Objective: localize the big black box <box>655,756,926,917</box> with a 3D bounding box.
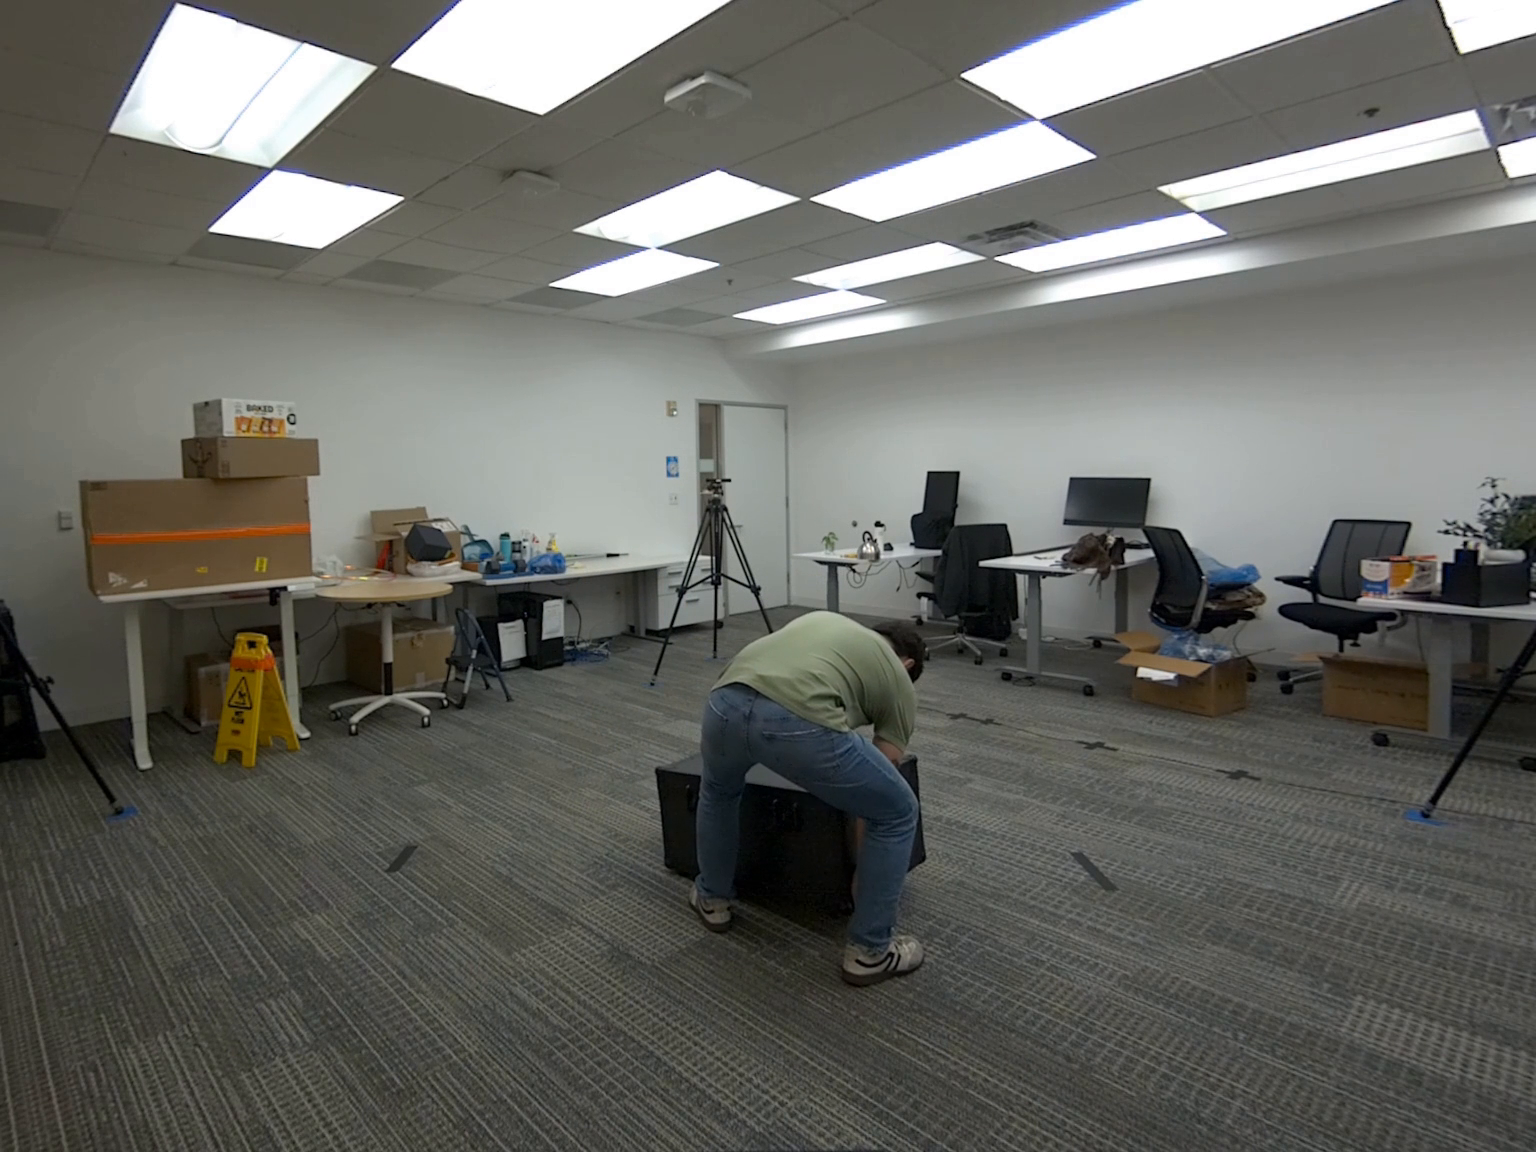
[{"bbox_3d":[0.046,0.836,3.002,0.885,0.395,0.508,-2,4,39],"label":"big black box"}]
